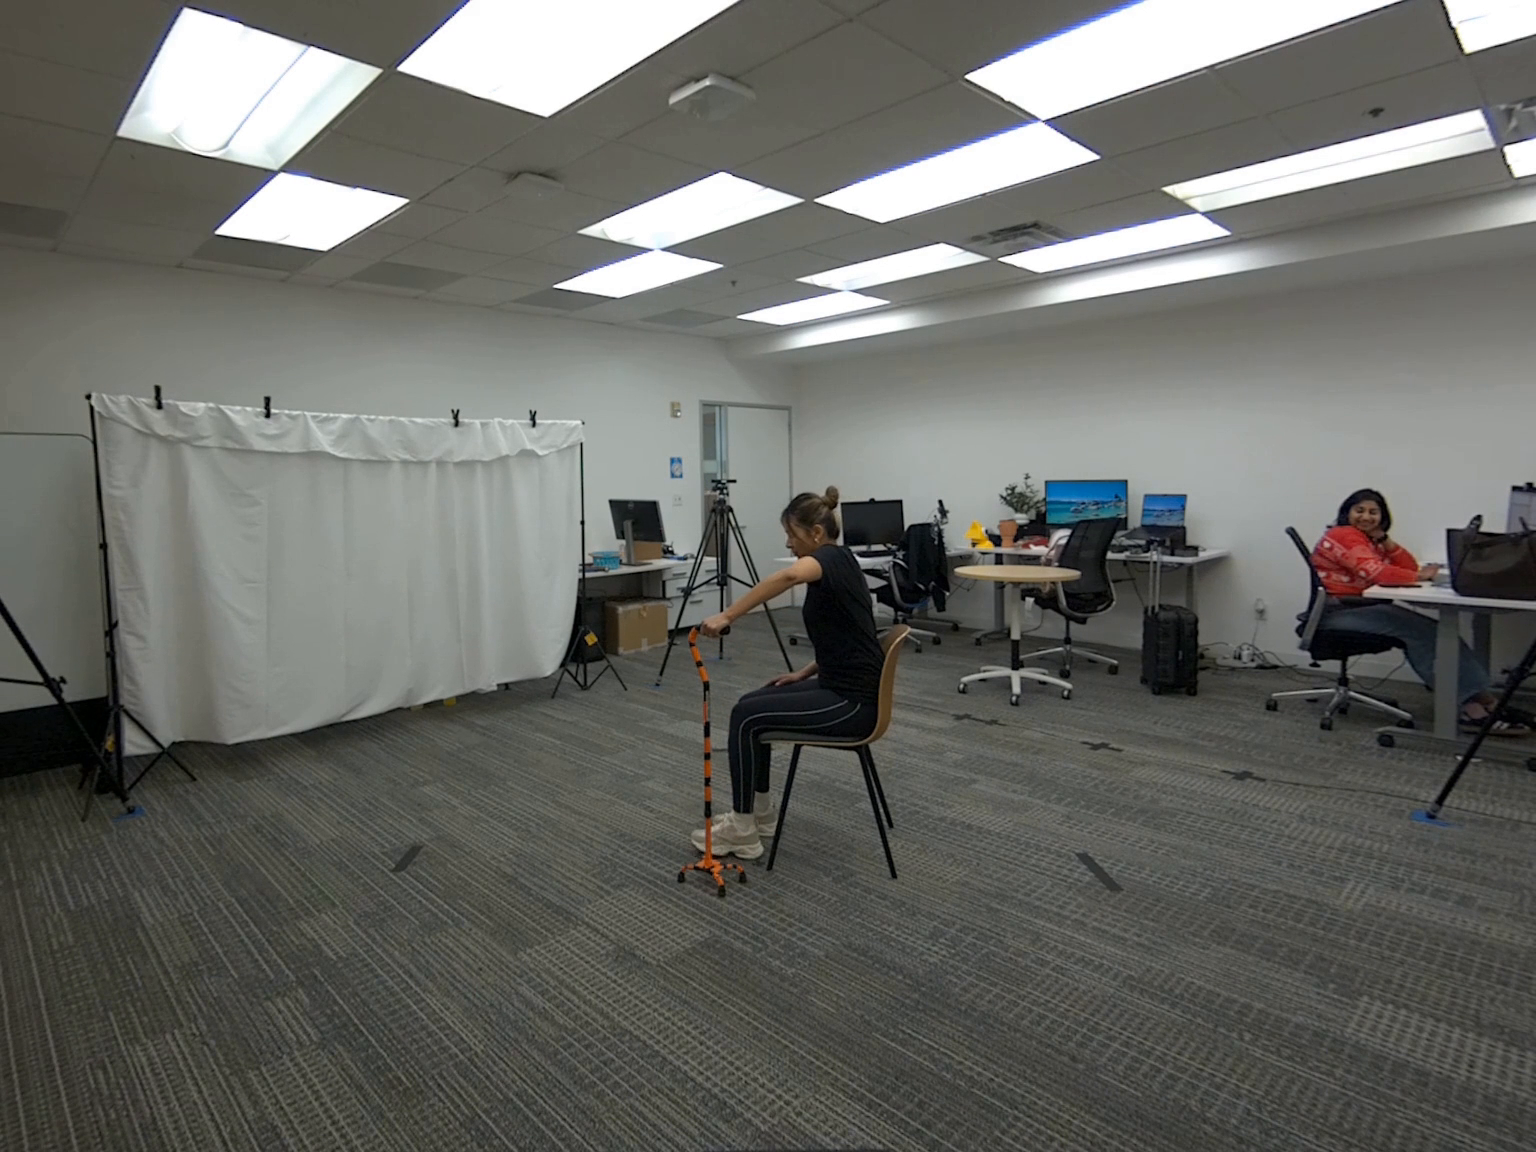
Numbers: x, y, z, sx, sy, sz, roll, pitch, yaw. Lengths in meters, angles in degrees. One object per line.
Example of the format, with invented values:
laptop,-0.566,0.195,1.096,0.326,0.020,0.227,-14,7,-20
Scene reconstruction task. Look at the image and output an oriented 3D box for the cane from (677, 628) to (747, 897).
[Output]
cane,-0.199,0.619,2.945,0.212,0.905,0.148,2,4,37
